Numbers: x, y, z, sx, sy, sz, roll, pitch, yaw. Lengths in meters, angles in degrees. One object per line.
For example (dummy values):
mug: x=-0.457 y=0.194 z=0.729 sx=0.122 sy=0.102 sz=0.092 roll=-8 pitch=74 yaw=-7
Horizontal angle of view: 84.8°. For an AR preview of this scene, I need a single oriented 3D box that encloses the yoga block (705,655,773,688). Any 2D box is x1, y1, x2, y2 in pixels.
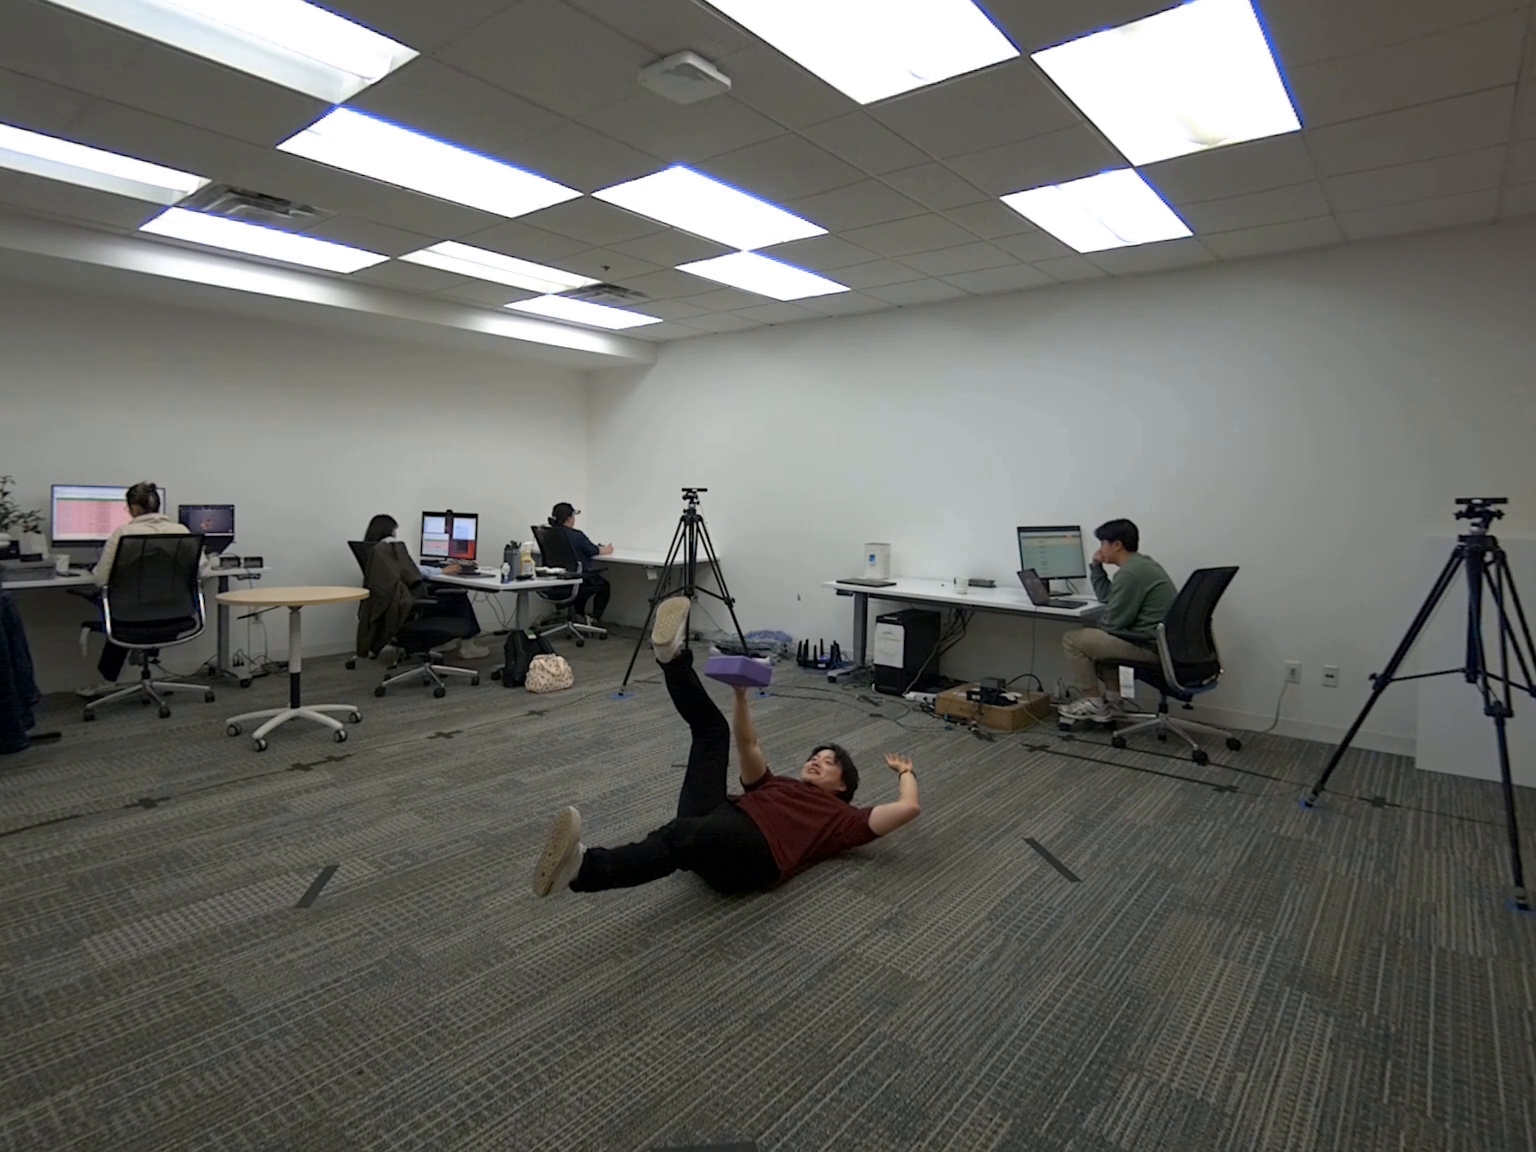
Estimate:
yoga block: x=-0.120 y=0.352 z=3.155 sx=0.143 sy=0.077 sz=0.236 roll=28 pitch=-22 yaw=-36
